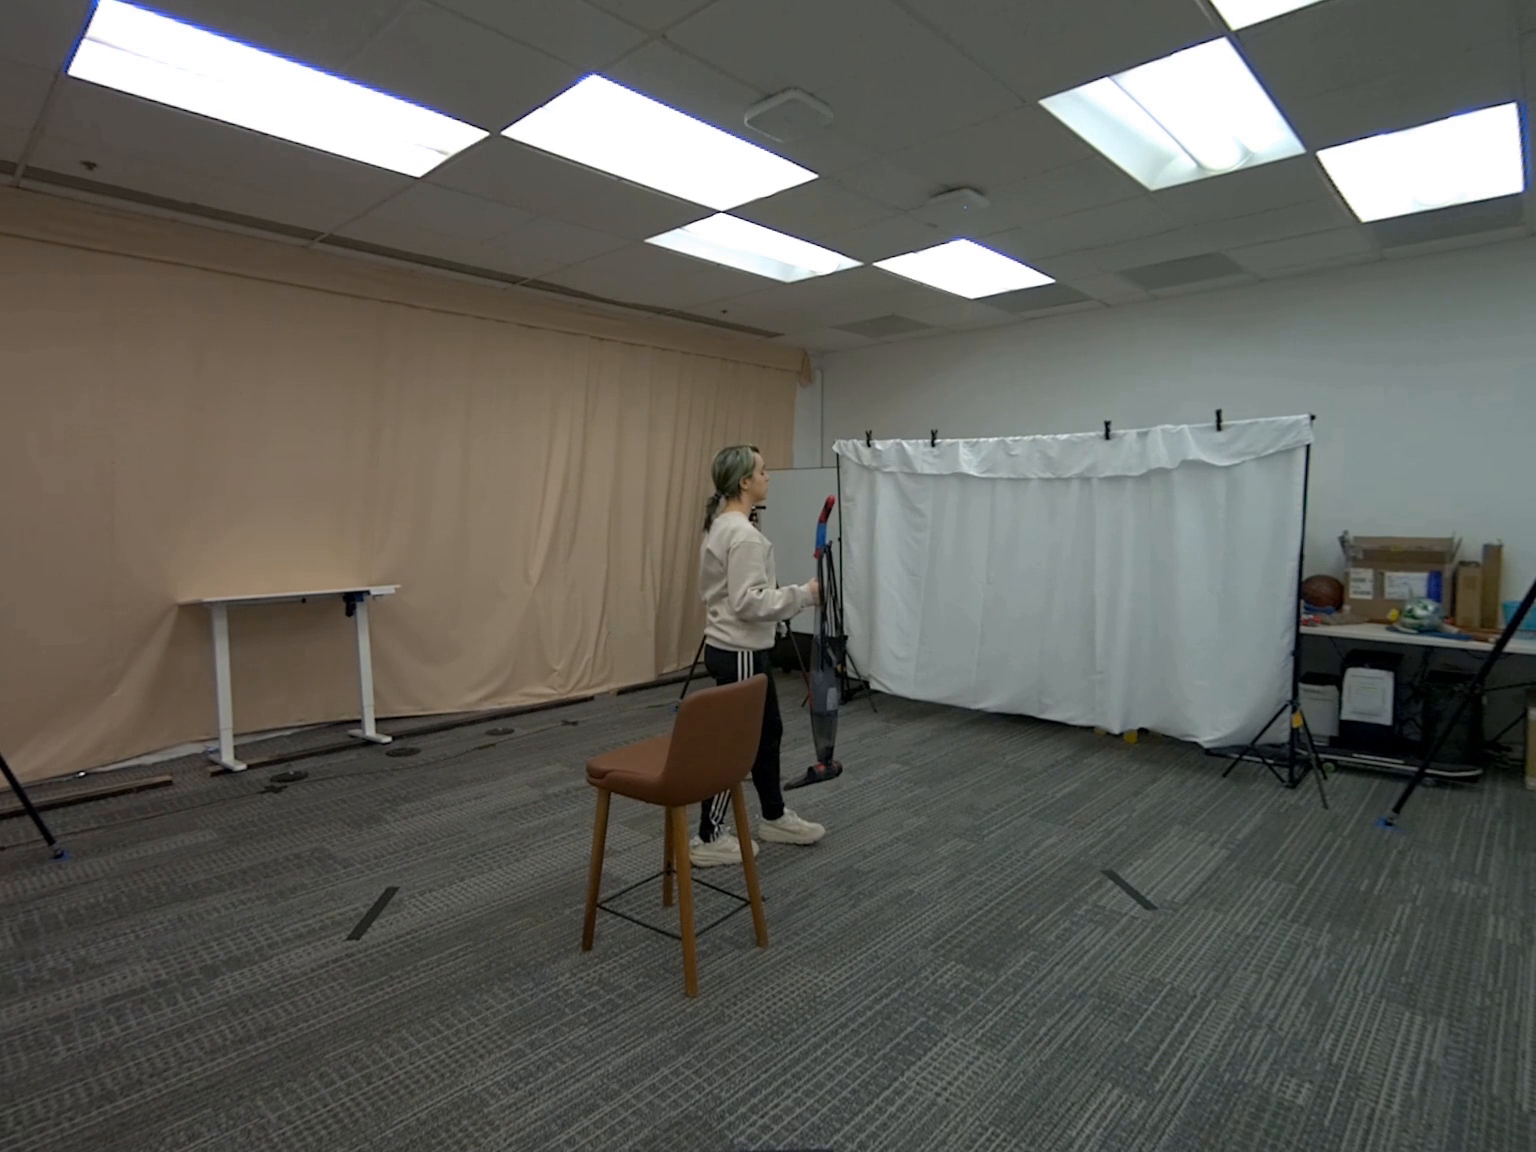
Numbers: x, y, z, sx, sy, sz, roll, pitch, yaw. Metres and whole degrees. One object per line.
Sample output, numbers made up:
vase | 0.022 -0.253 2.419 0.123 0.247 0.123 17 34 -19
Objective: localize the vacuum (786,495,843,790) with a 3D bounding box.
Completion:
vacuum | 0.222 0.239 3.092 0.245 1.045 0.149 0 9 -38
